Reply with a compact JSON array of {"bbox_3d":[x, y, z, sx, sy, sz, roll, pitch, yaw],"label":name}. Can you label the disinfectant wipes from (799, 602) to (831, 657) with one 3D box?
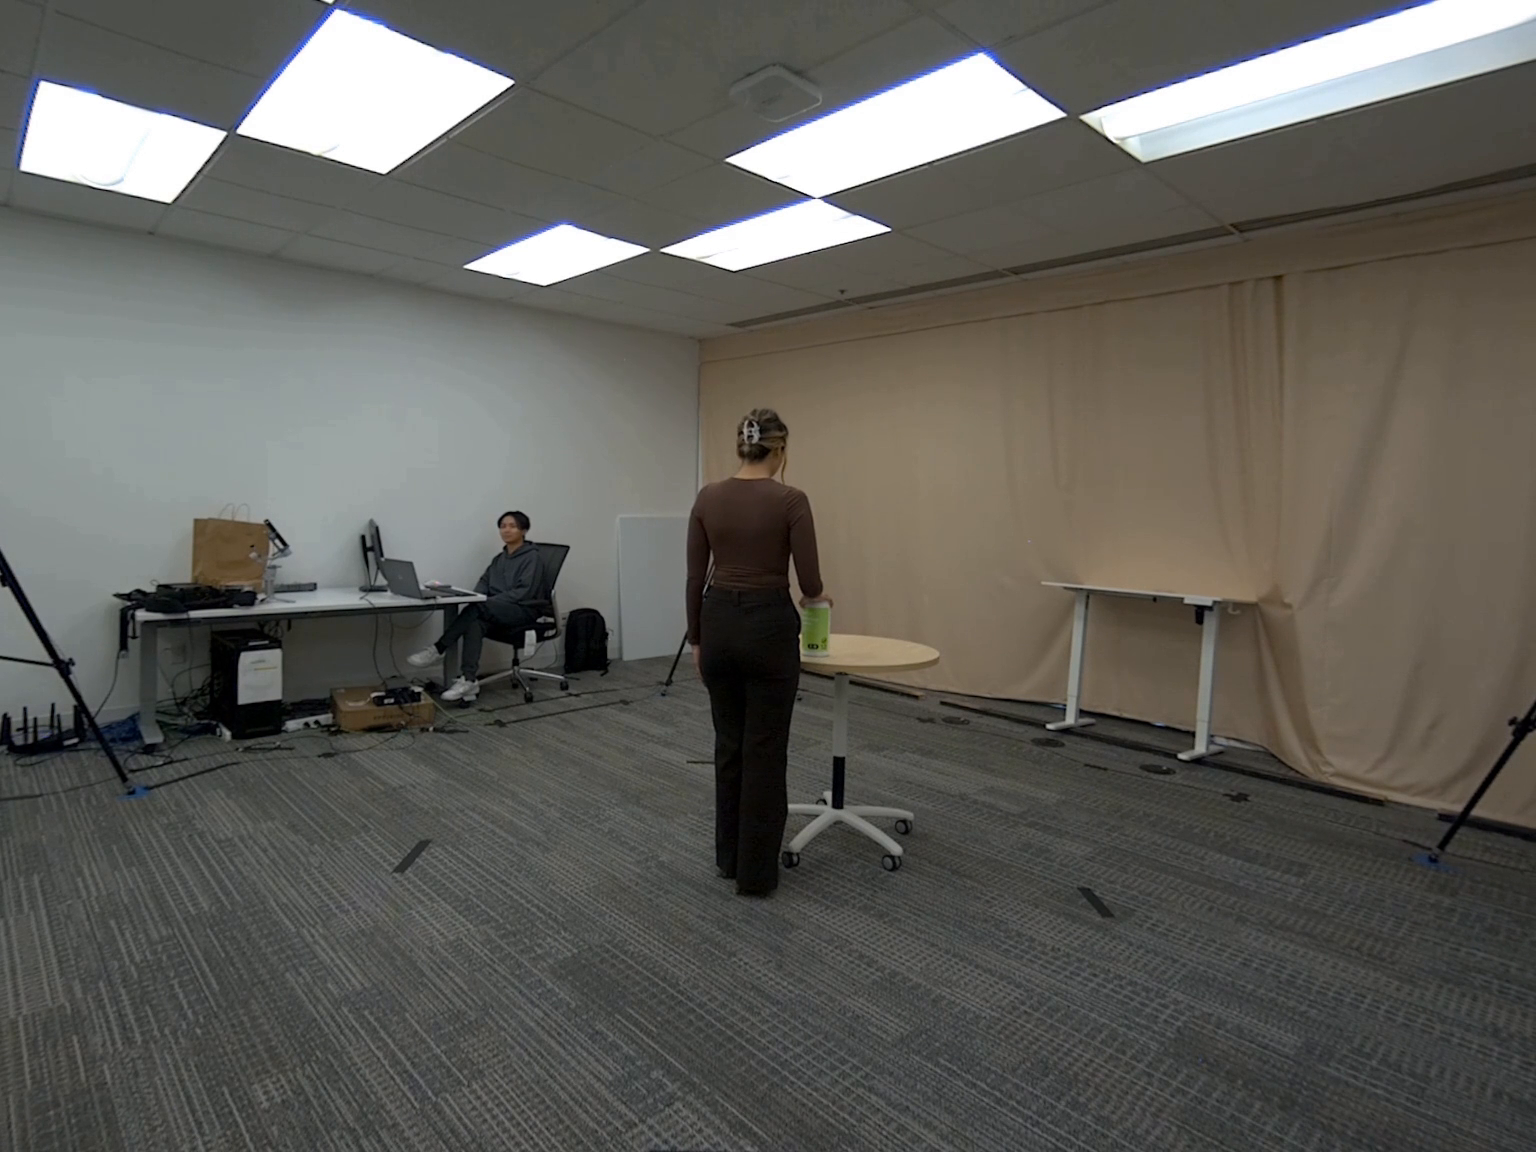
[{"bbox_3d":[0.178,0.199,3.234,0.118,0.217,0.118,-1,4,-1],"label":"disinfectant wipes"}]
